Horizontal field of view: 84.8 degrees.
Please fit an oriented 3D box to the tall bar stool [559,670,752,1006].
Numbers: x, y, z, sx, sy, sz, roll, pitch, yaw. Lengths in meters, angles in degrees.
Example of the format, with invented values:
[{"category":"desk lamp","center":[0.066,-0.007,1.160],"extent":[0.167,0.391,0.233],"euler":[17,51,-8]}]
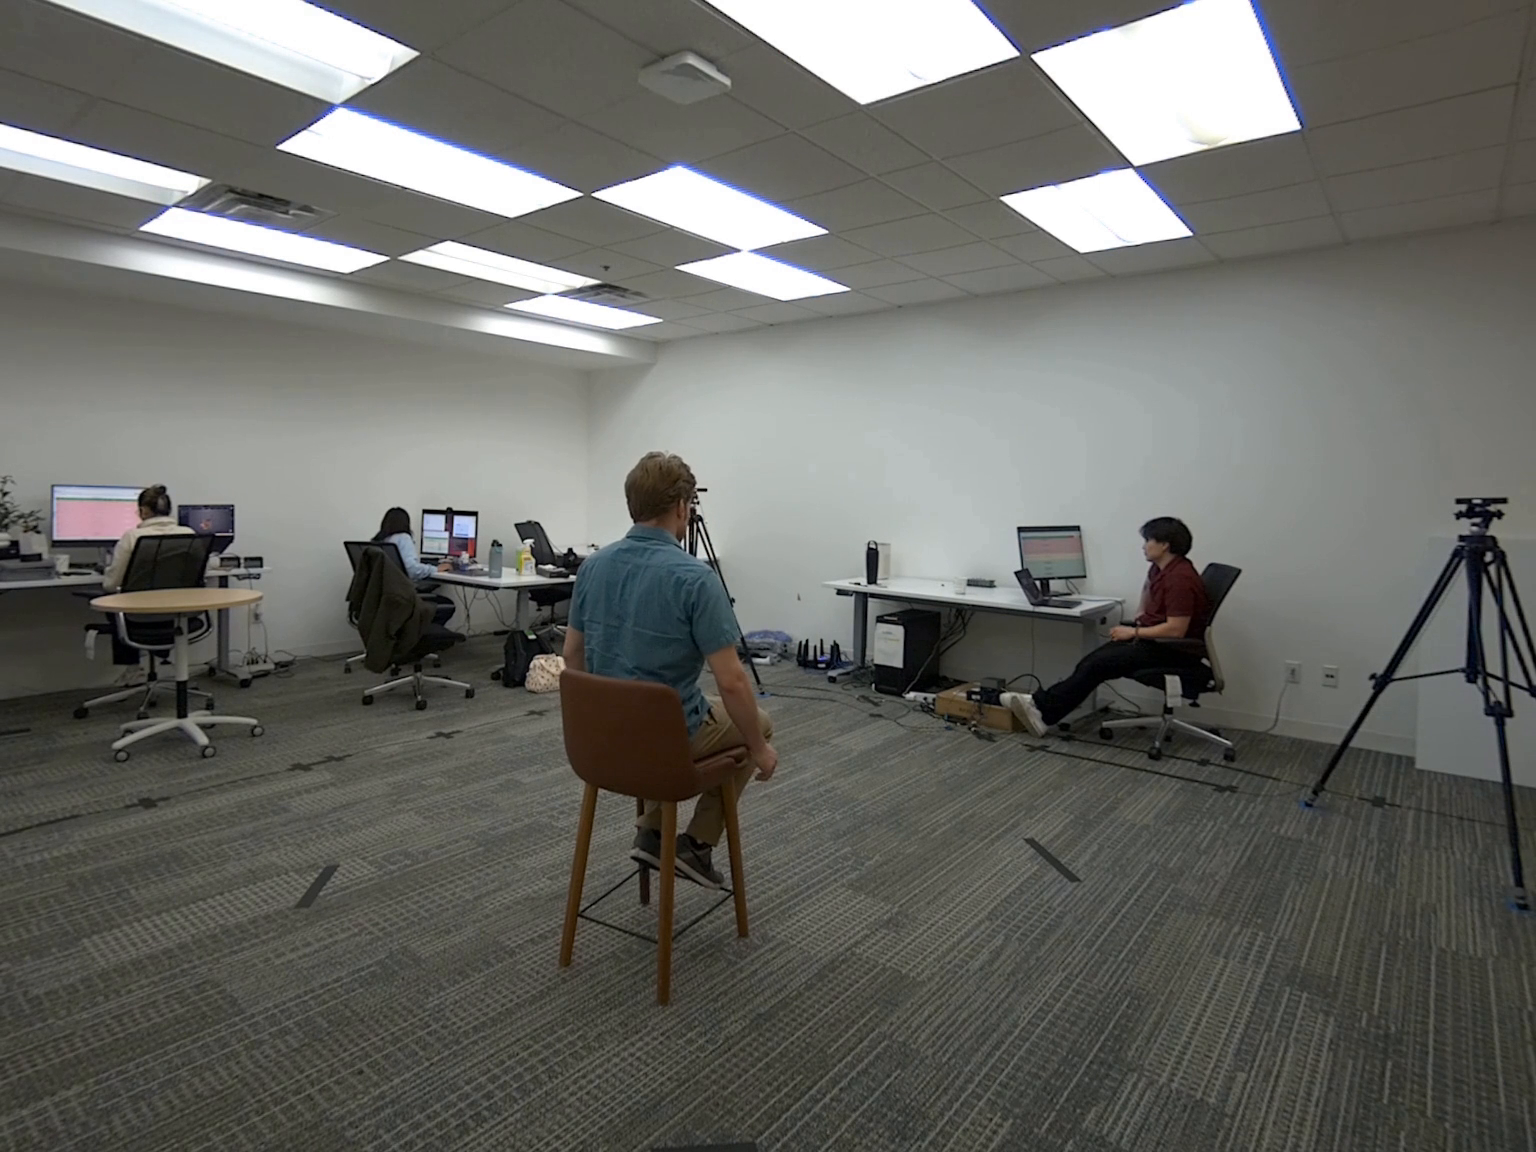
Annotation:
[{"category":"tall bar stool","center":[-0.351,0.687,2.541],"extent":[0.470,0.886,0.456],"euler":[2,5,30]}]
